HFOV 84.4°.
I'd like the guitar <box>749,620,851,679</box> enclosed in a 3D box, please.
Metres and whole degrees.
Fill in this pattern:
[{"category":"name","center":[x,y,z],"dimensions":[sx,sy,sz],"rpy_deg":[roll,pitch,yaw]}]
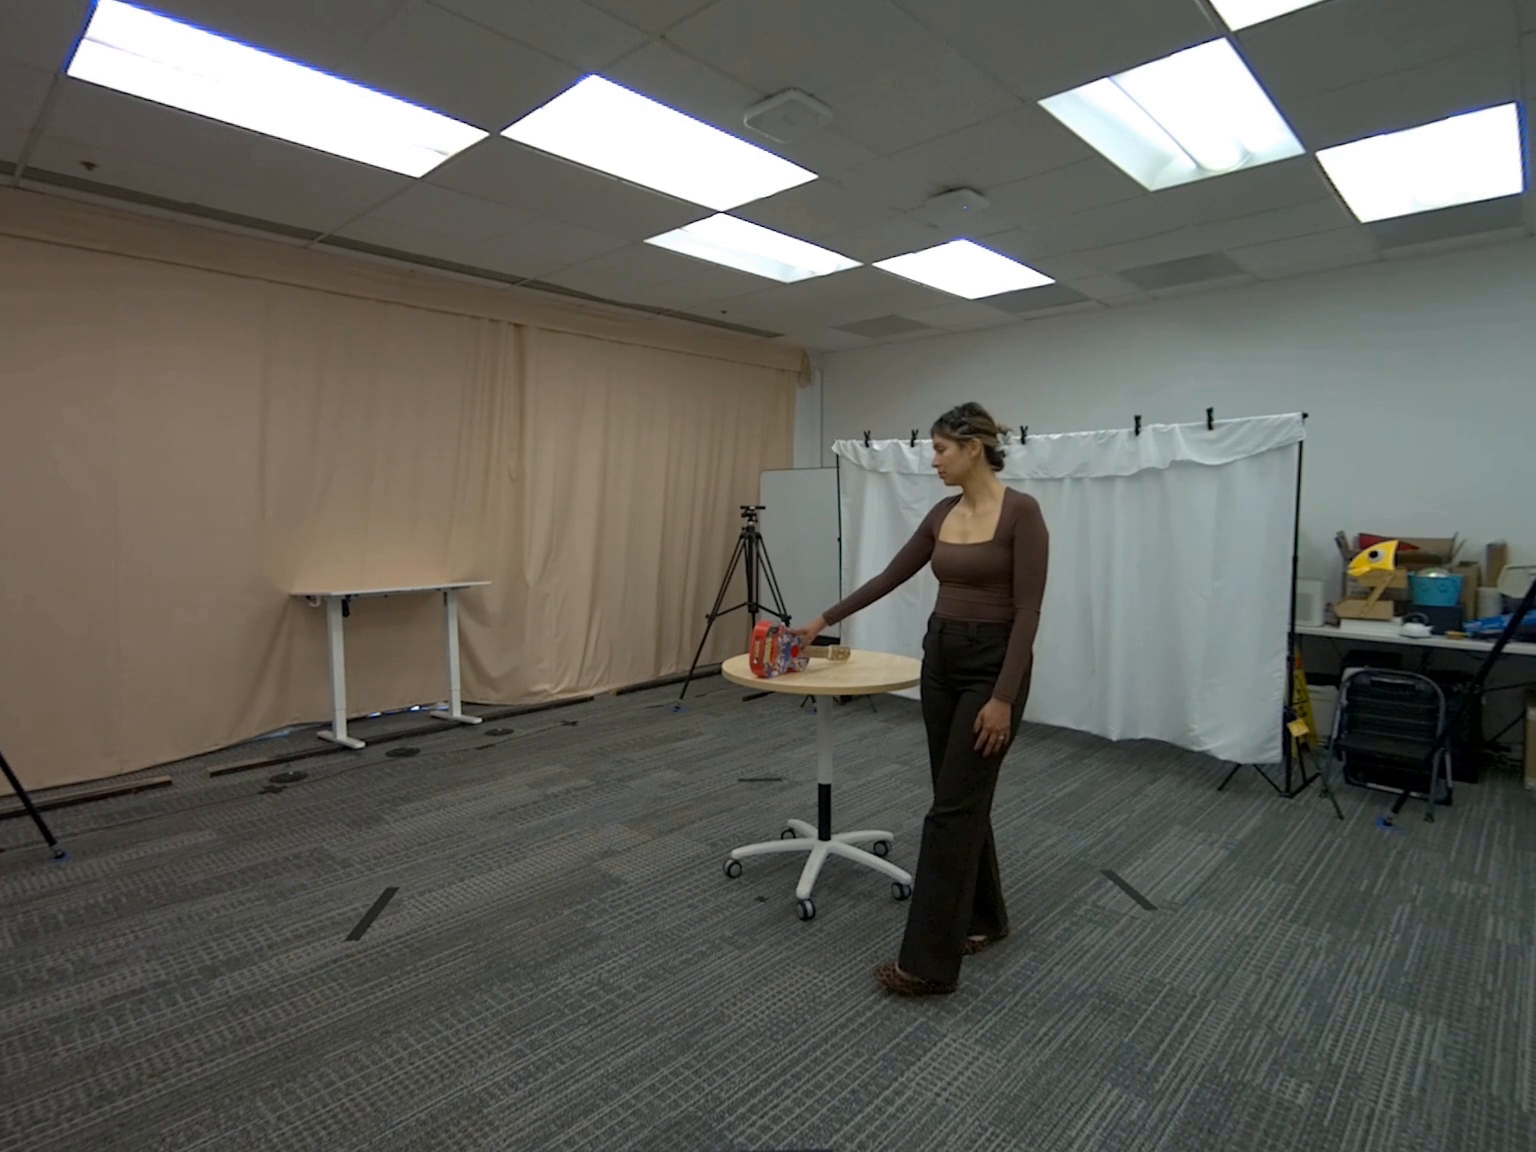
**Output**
[{"category":"guitar","center":[0.128,0.301,3.045],"dimensions":[0.073,0.193,0.480],"rpy_deg":[4,-12,45]}]
